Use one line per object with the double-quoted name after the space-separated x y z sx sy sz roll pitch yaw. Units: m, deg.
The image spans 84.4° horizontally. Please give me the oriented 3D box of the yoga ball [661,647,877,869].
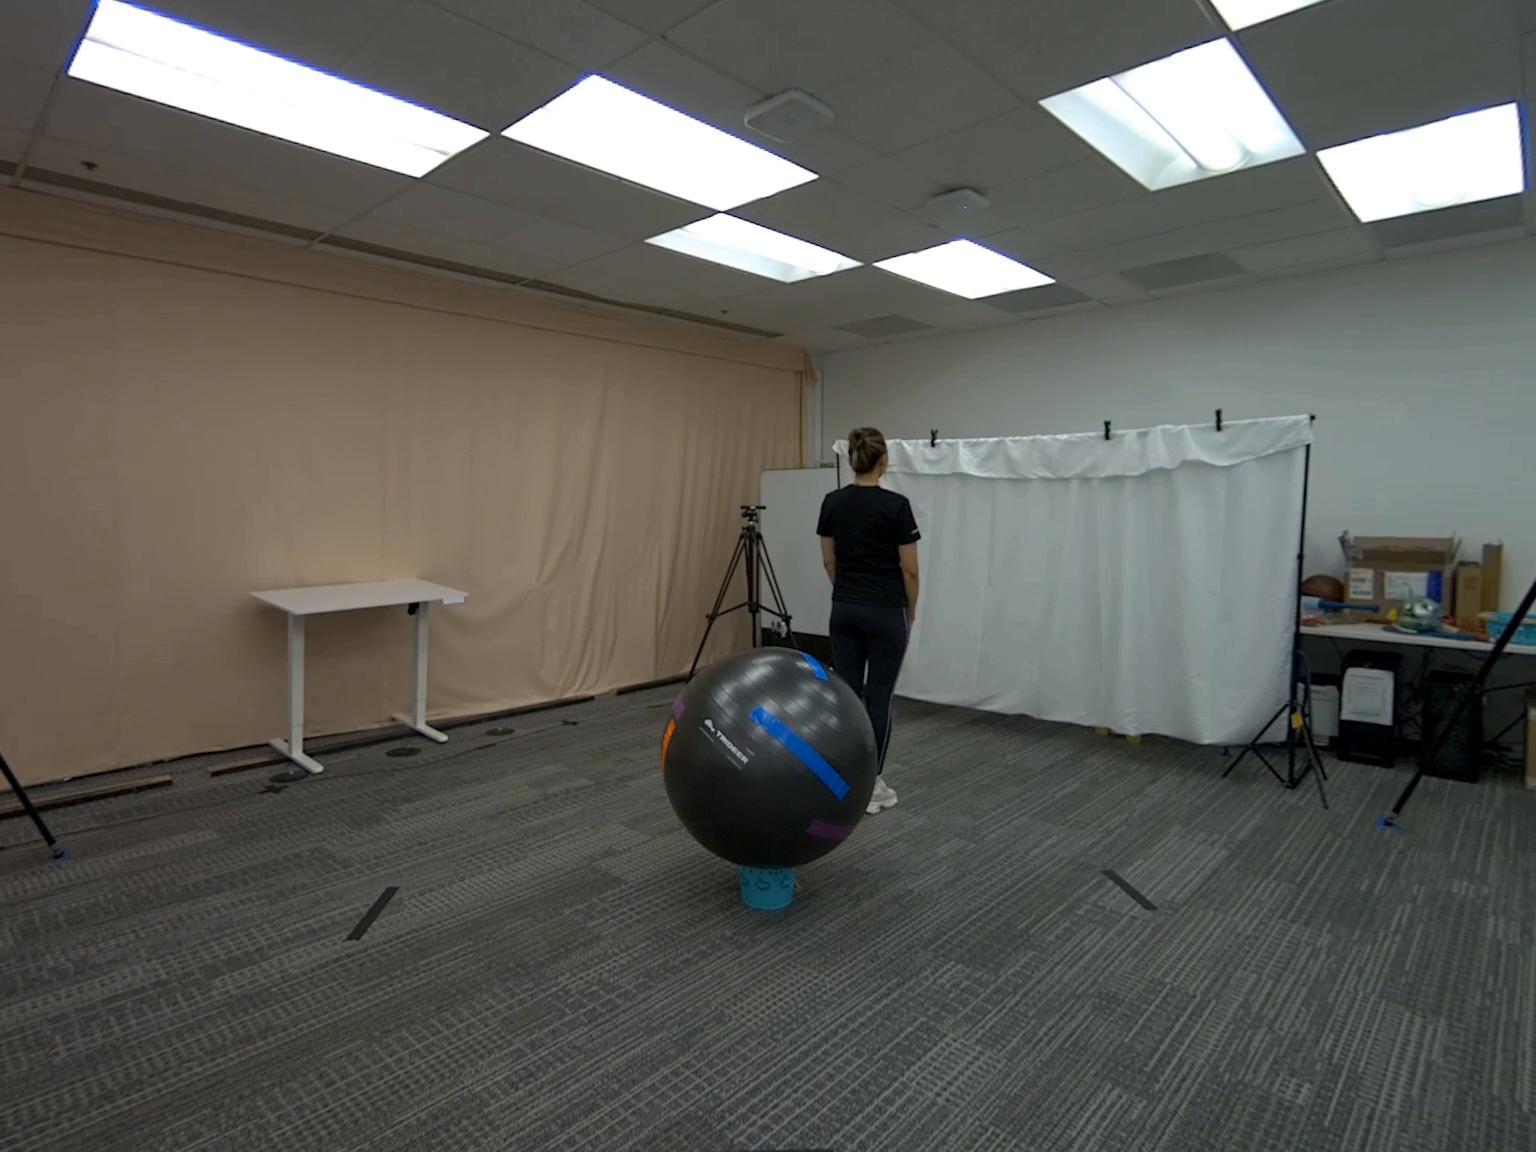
0.006 0.635 2.968 0.757 0.756 0.760 0 4 -2 "yoga ball"
